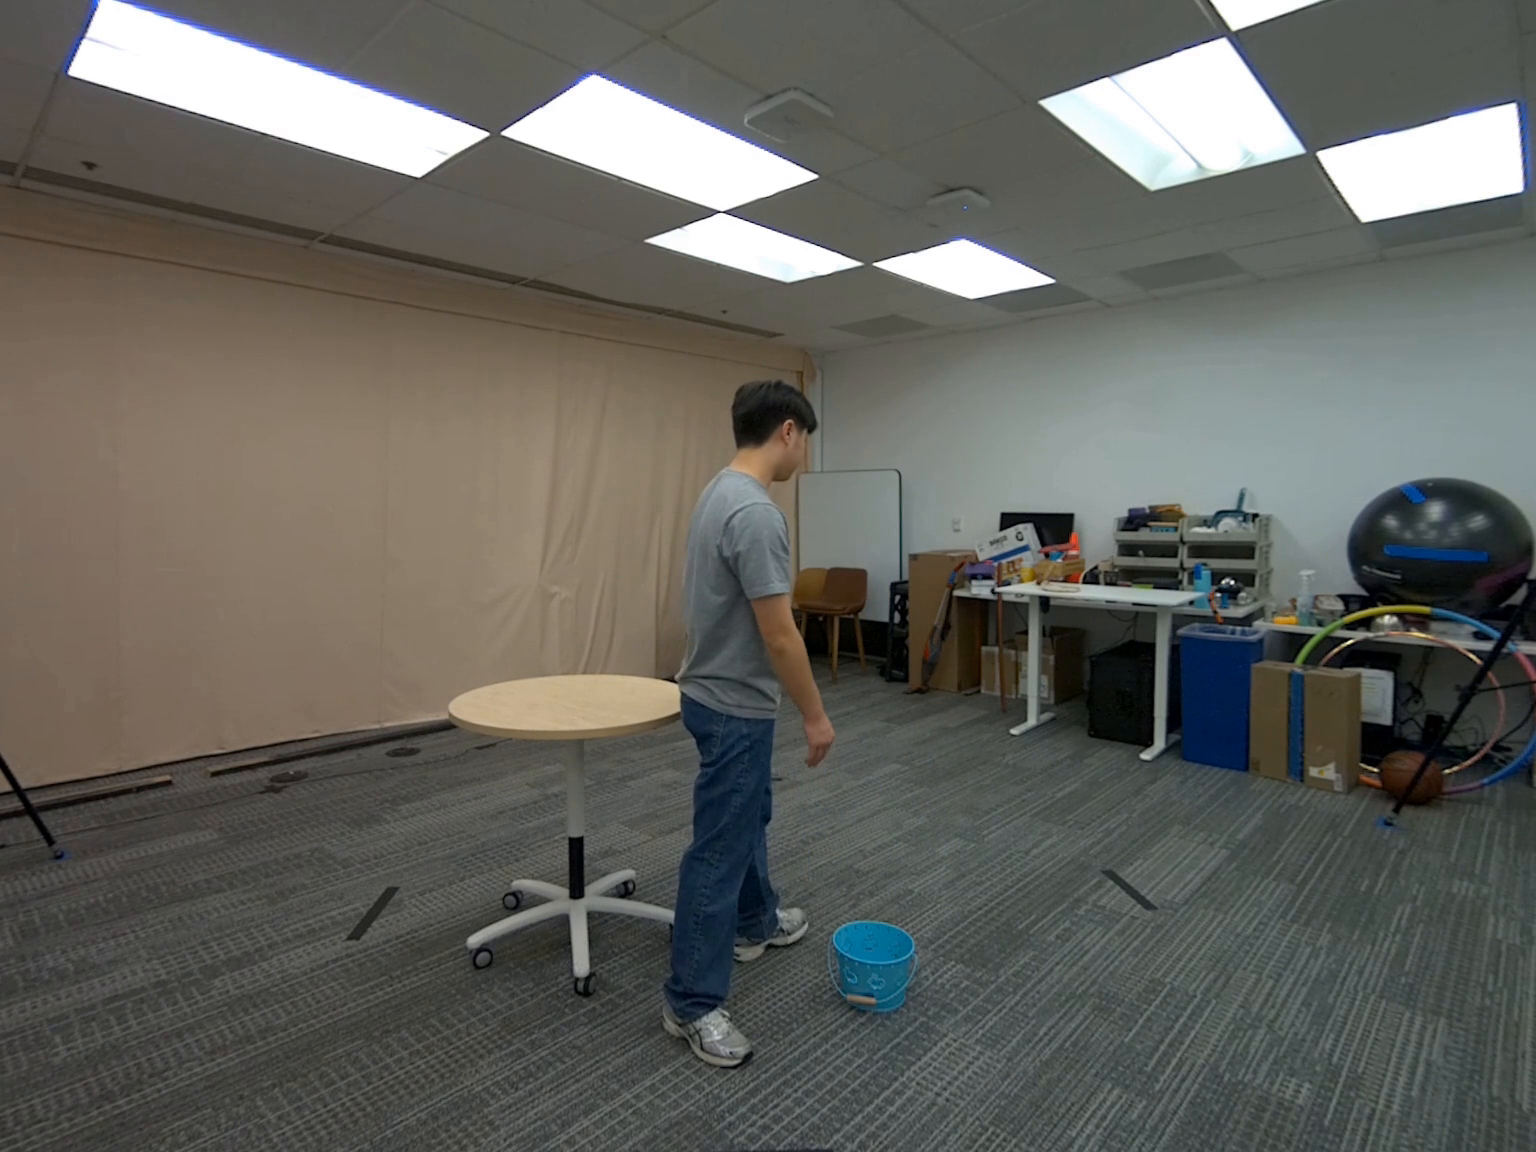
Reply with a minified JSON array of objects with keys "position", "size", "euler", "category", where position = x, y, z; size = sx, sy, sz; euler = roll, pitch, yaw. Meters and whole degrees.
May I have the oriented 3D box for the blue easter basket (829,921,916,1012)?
[{"position":[0.299,1.116,2.396],"size":[0.243,0.155,0.244],"euler":[1,3,-2],"category":"blue easter basket"}]
